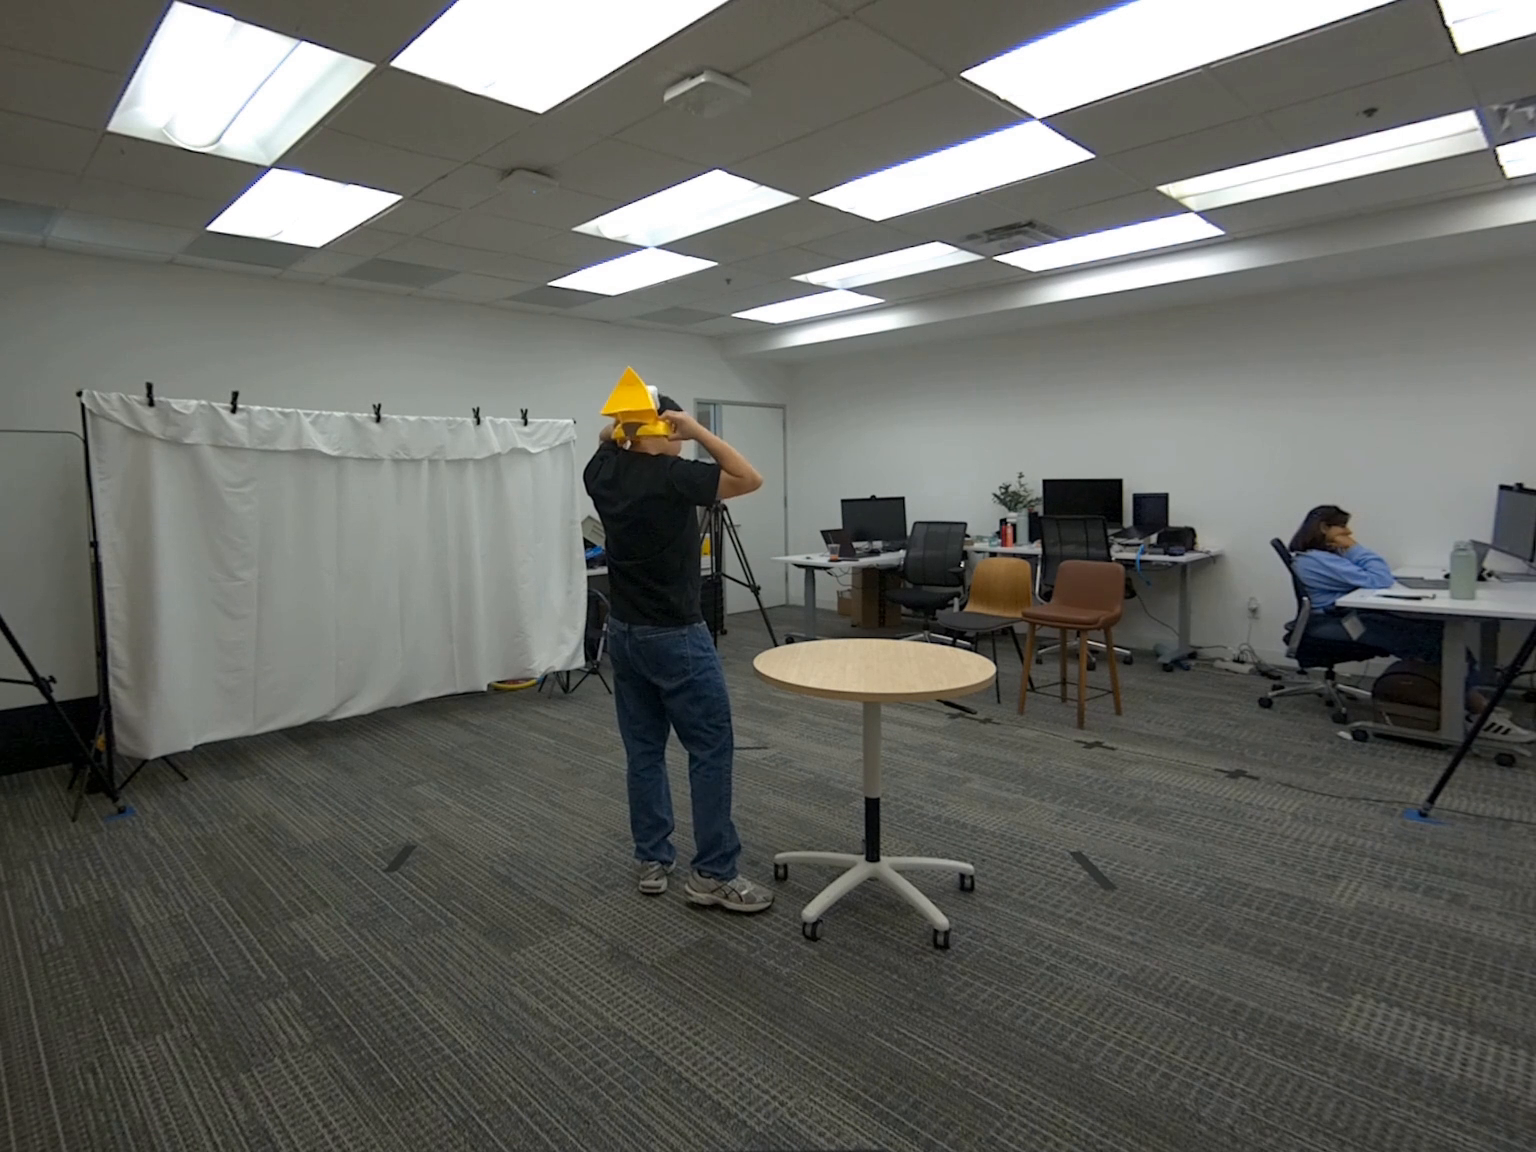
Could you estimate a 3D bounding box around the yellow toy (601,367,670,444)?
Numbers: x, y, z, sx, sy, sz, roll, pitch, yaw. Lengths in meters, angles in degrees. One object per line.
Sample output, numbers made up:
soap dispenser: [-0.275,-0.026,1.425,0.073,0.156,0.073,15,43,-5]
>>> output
yellow toy: [-0.427,-0.580,2.860,0.209,0.230,0.189,-1,4,25]
